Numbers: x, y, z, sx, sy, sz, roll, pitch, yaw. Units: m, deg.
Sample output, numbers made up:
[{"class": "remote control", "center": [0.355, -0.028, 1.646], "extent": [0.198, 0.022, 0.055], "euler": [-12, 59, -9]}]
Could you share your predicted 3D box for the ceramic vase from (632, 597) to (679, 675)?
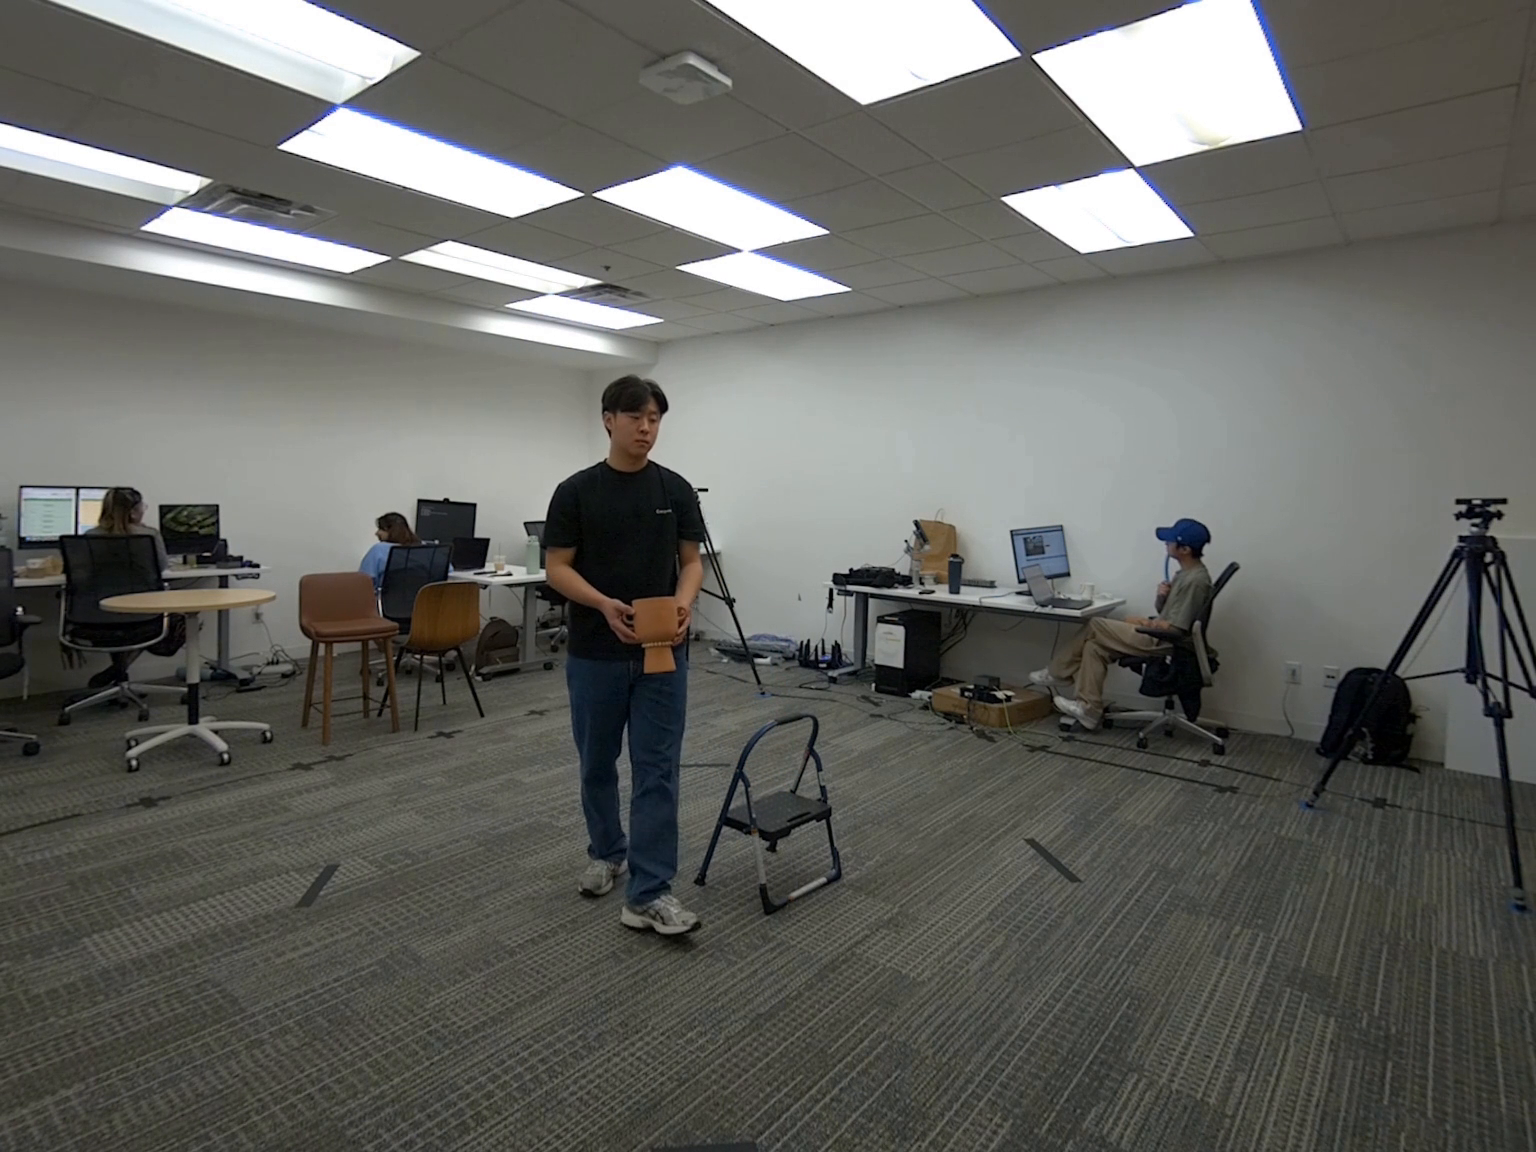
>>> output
[{"class": "ceramic vase", "center": [-0.348, 0.175, 2.571], "extent": [0.163, 0.221, 0.130], "euler": [-10, -7, 33]}]
